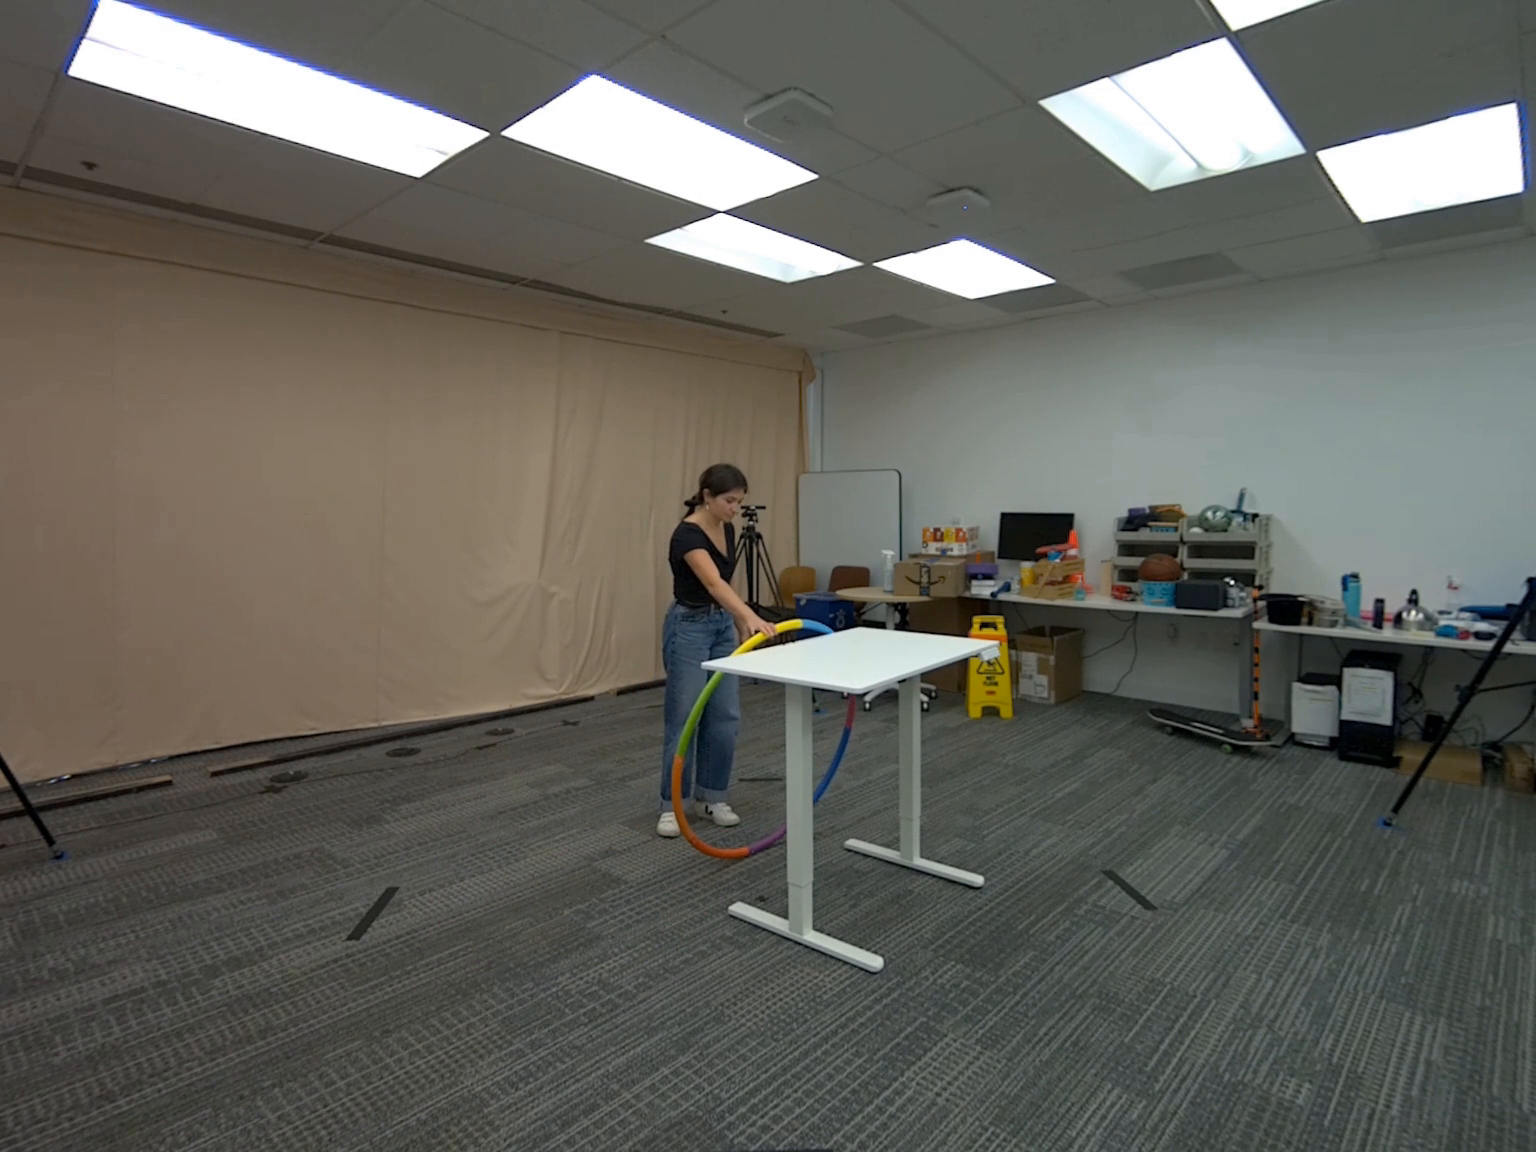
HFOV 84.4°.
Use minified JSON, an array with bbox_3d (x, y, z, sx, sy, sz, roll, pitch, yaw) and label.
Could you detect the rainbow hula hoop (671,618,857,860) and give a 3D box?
[{"bbox_3d":[0.019,0.641,3.289,0.948,0.973,0.037,-4,17,-45],"label":"rainbow hula hoop"}]
